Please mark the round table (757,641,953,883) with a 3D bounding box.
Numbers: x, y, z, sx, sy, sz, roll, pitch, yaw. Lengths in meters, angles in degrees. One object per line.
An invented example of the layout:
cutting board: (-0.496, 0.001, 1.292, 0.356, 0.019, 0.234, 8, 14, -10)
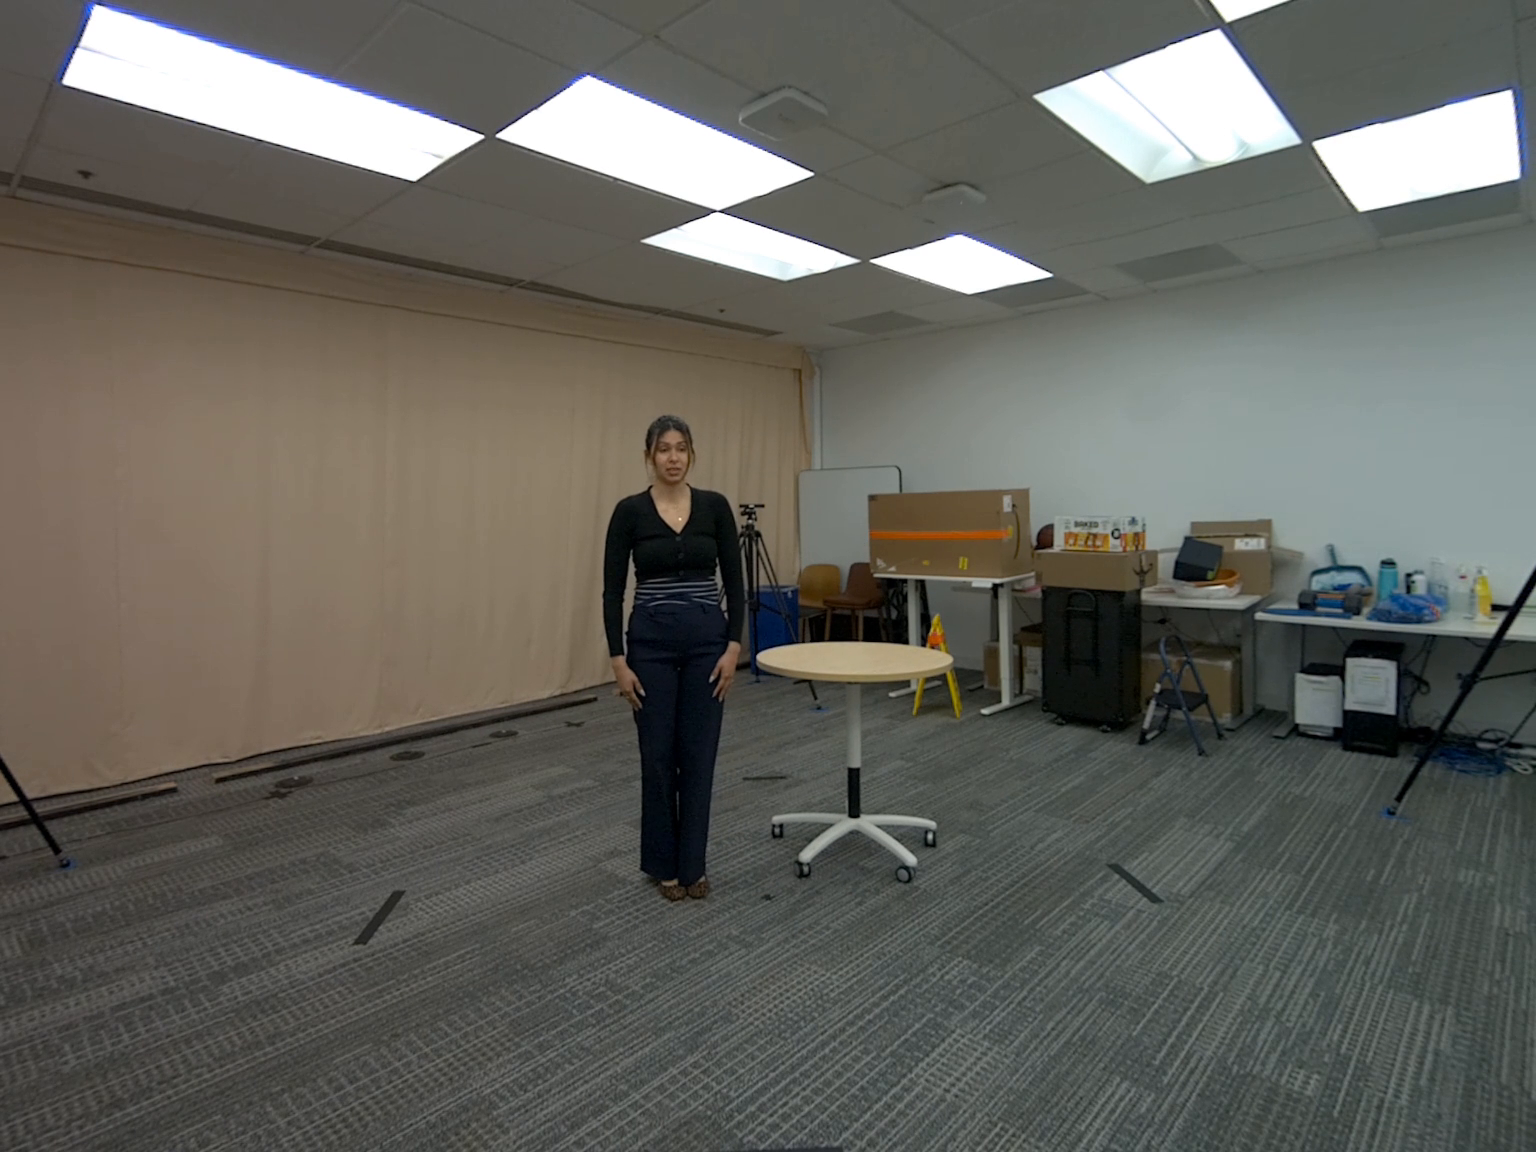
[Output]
round table: (0.341, 0.712, 3.358, 0.763, 0.792, 0.766, -1, 3, -2)
